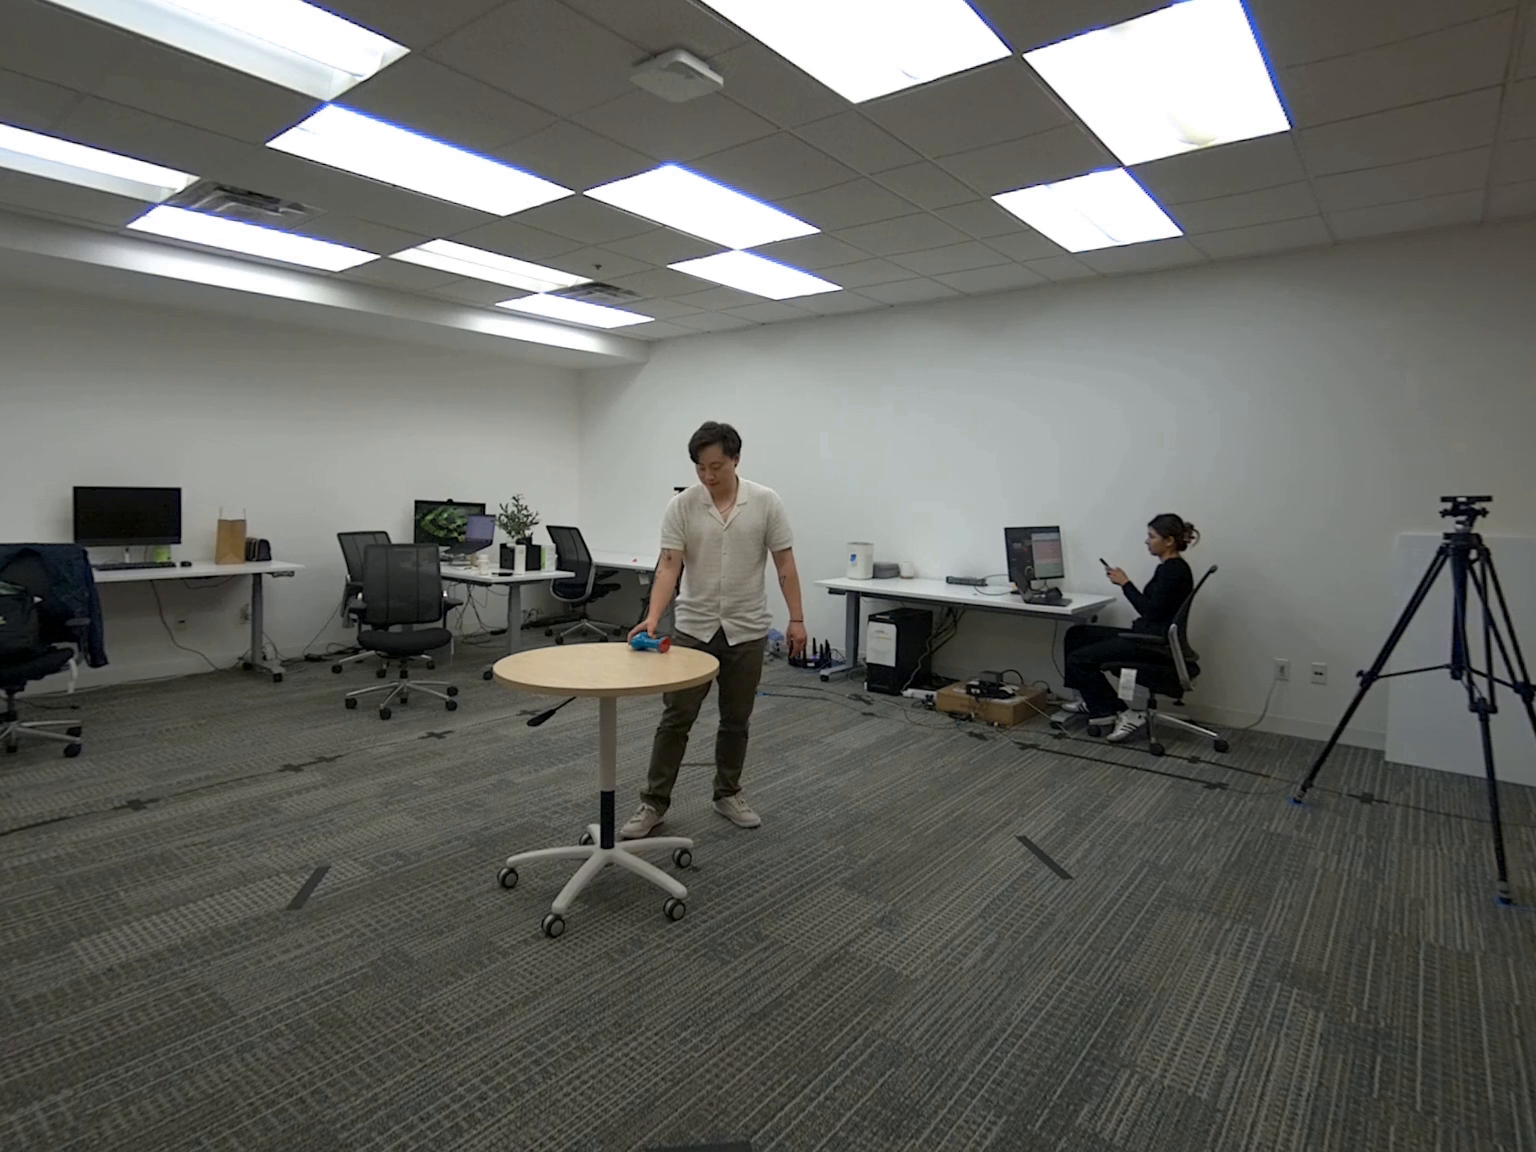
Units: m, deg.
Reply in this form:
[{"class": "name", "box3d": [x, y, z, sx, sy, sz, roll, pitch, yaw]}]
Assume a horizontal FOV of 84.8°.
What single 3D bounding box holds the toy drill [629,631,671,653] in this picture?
[{"class": "toy drill", "box3d": [-0.445, 0.242, 3.173, 0.150, 0.061, 0.166, 4, 9, 24]}]
